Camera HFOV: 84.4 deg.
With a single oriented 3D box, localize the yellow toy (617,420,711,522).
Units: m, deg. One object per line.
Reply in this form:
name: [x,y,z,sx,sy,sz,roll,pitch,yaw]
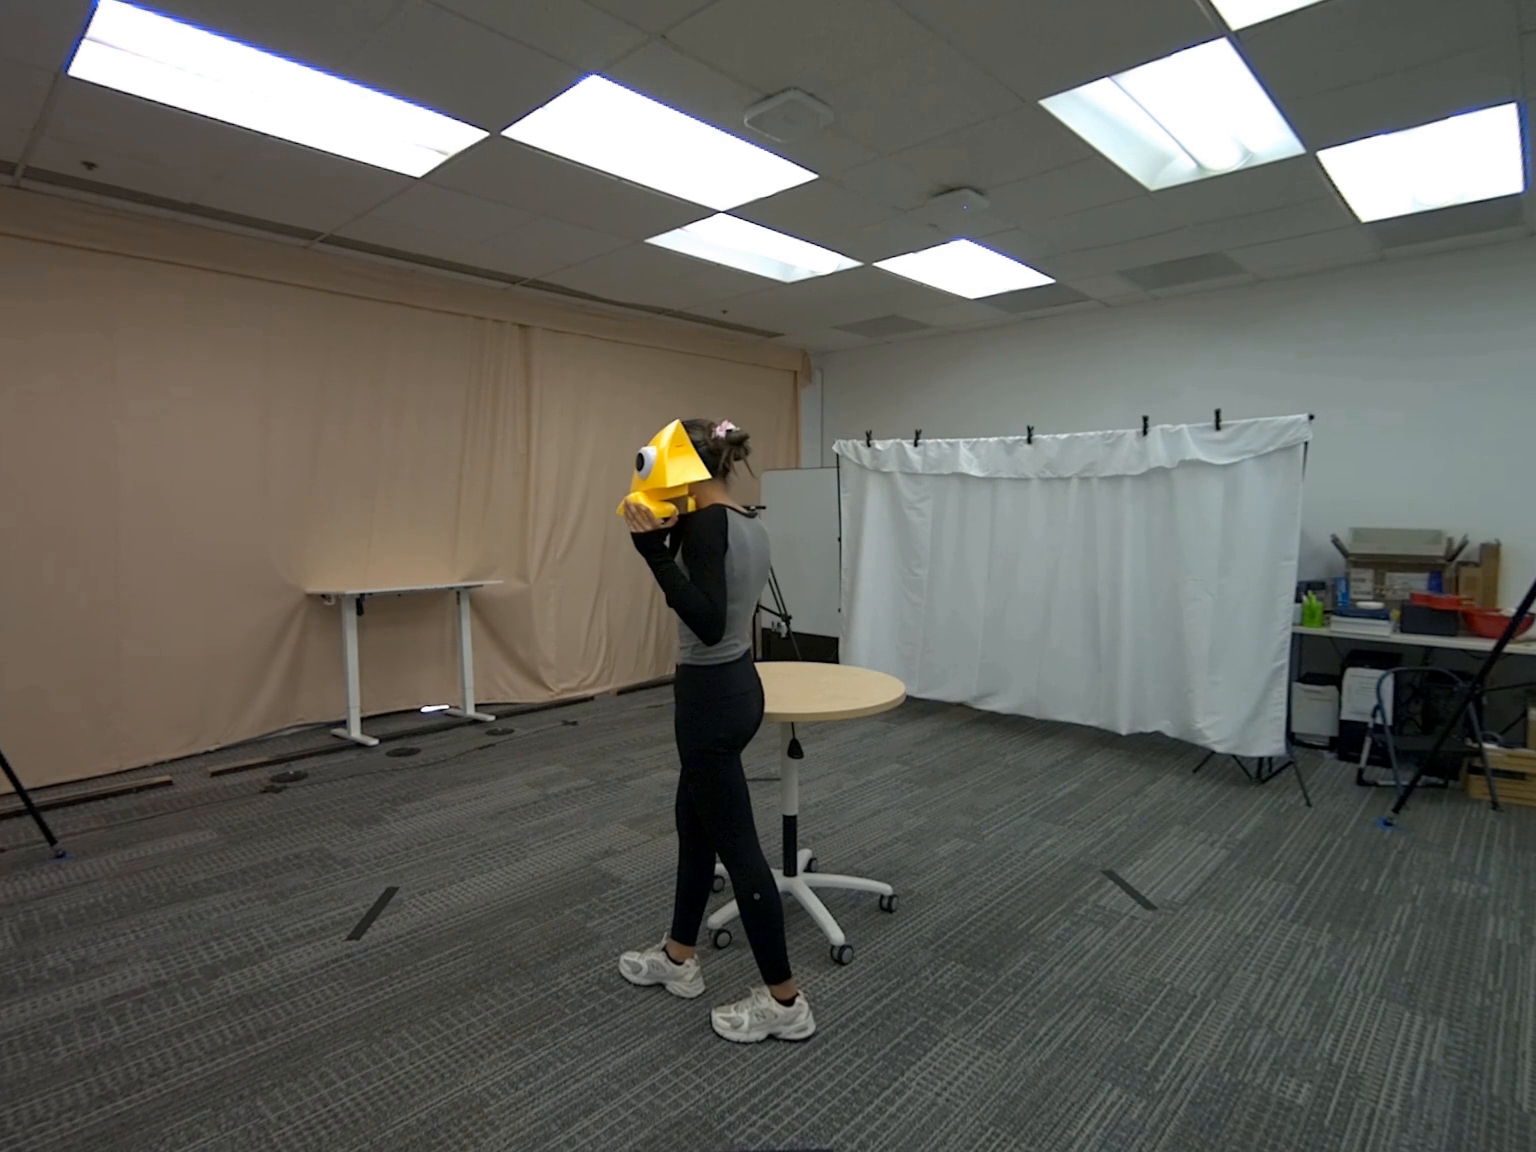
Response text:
yellow toy: [-0.264,-0.273,2.103,0.199,0.229,0.200,5,14,29]
